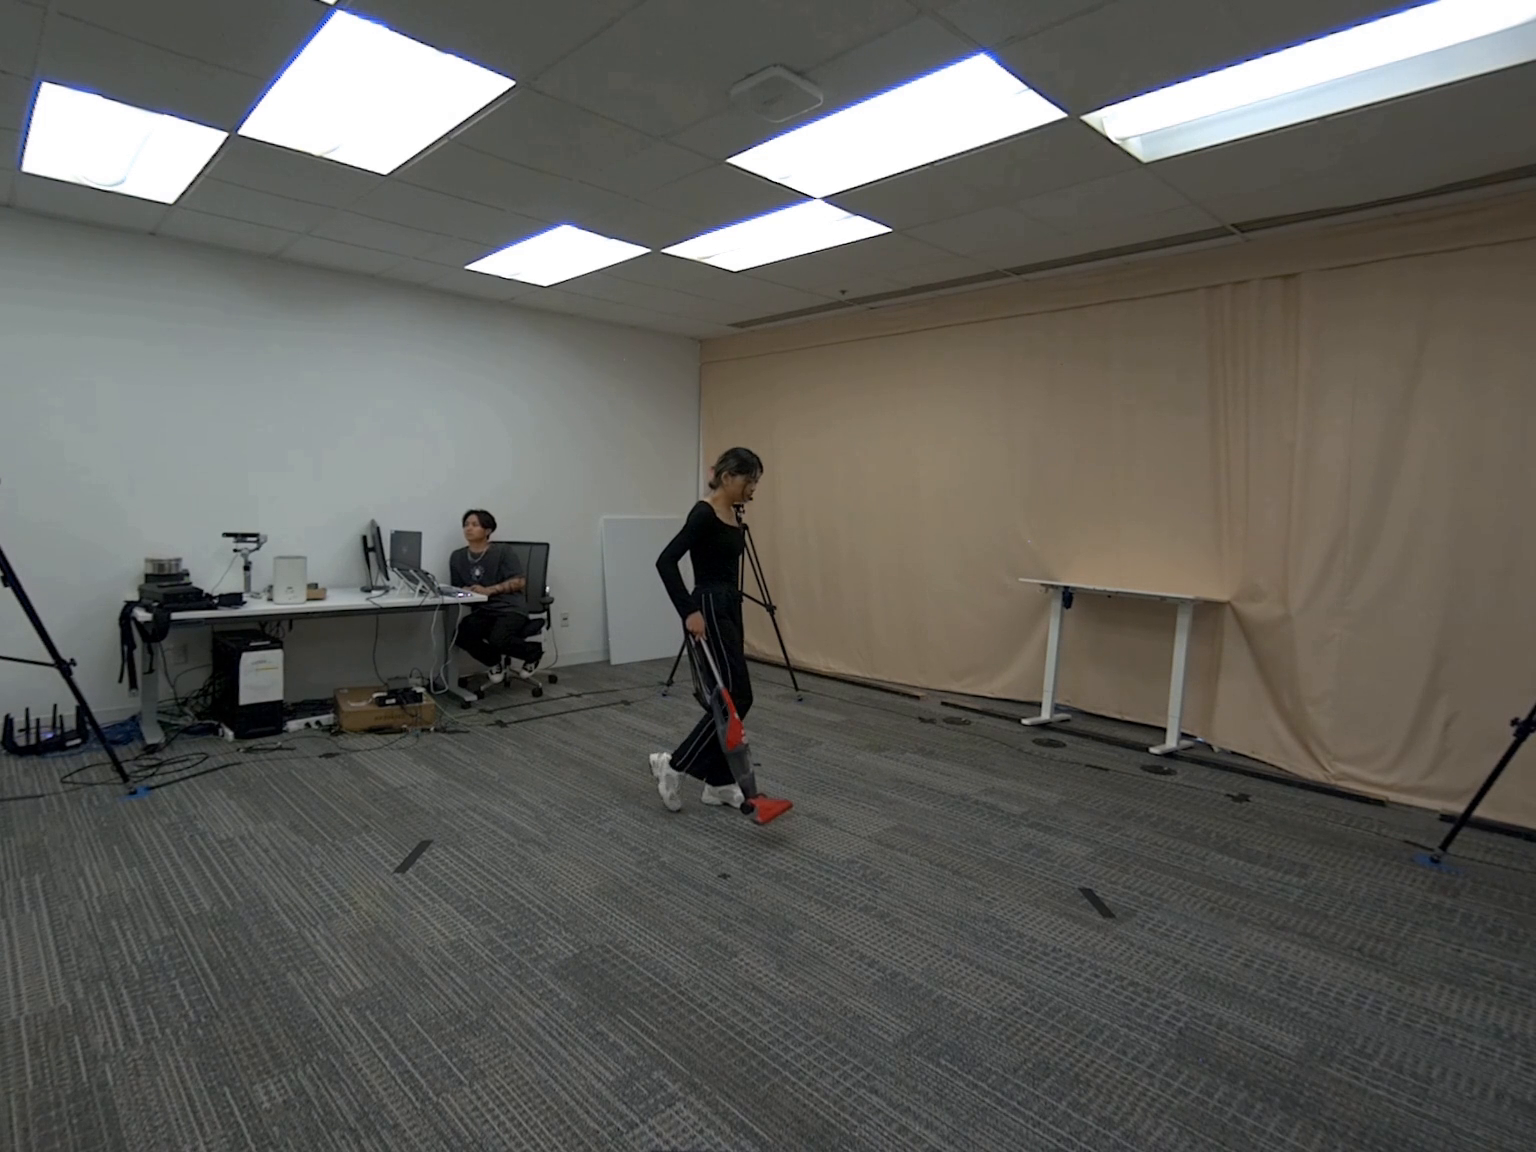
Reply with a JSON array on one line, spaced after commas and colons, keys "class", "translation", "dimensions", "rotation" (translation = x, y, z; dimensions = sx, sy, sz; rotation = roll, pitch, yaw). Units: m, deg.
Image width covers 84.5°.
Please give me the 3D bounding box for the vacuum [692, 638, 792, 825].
[{"class": "vacuum", "translation": [-0.219, 0.493, 3.535], "dimensions": [0.145, 1.062, 0.247], "rotation": [-30, -14, 32]}]
